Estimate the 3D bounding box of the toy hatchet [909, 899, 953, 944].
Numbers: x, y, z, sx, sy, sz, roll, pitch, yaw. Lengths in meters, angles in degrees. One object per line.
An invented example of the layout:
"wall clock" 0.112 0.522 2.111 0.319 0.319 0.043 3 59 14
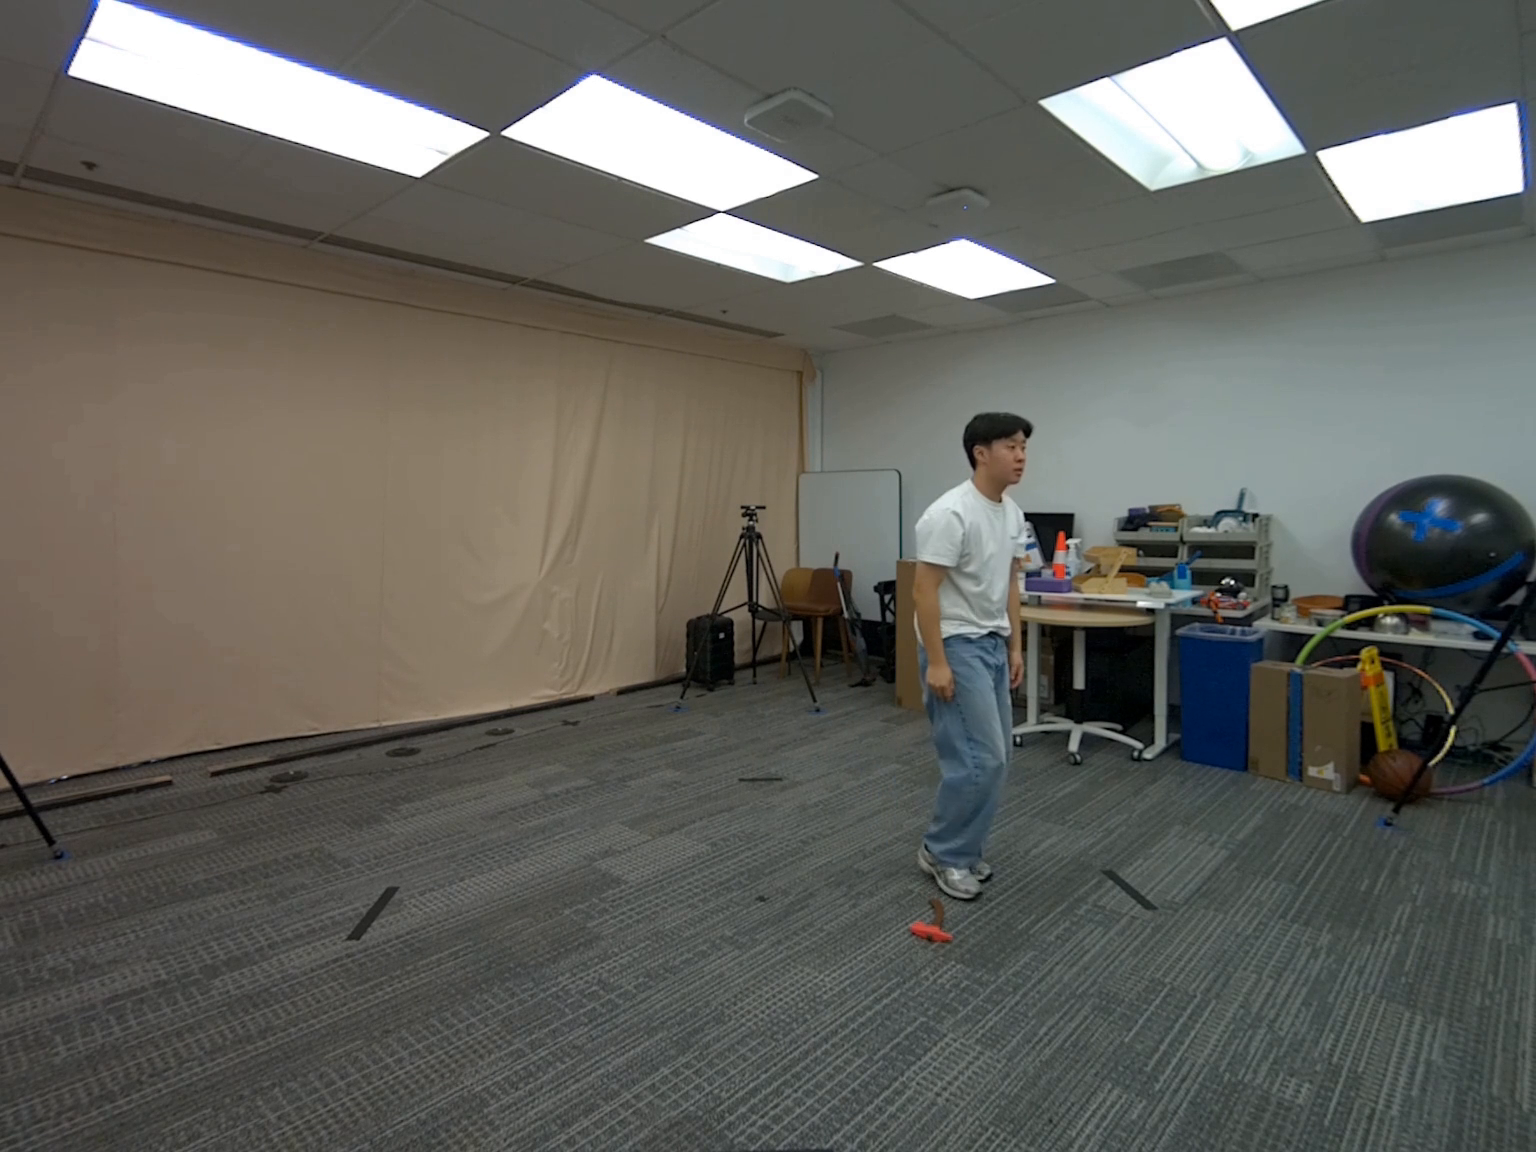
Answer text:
"toy hatchet" 0.535 1.147 2.810 0.132 0.029 0.269 0 3 4
